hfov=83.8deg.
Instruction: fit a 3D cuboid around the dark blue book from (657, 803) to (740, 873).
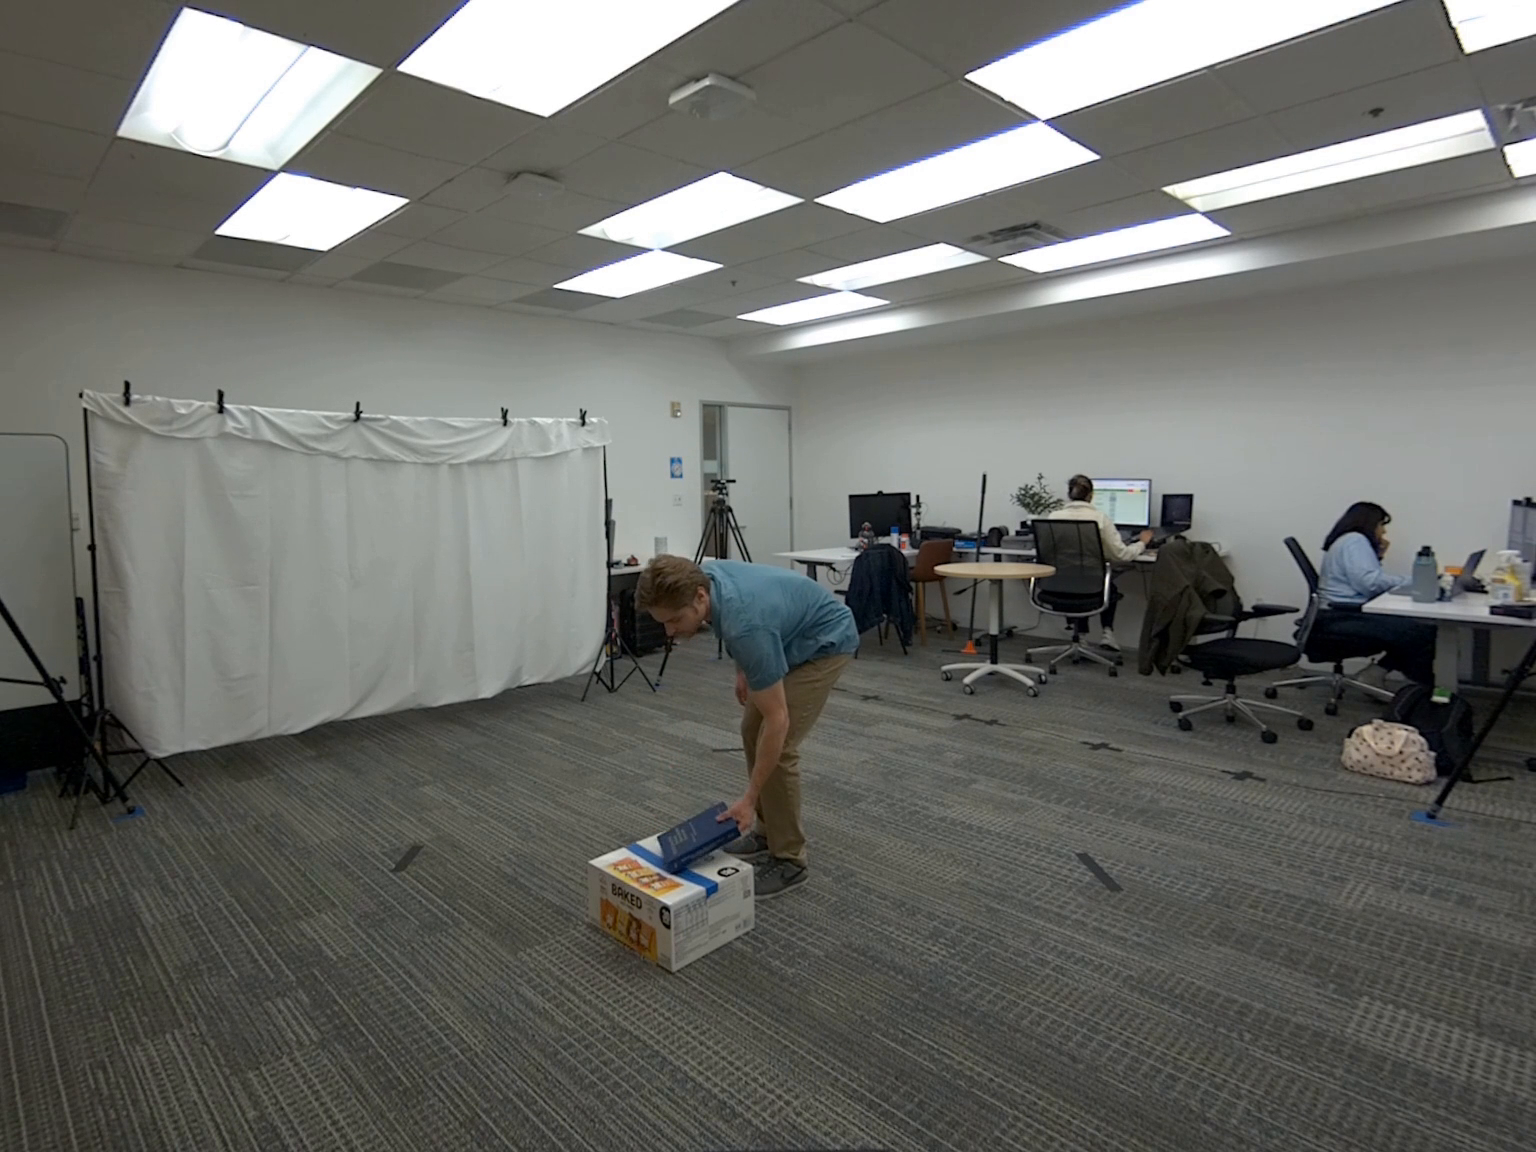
[{"bbox_3d":[-0.217,0.827,2.688,0.244,0.044,0.167,-27,18,-9],"label":"dark blue book"}]
